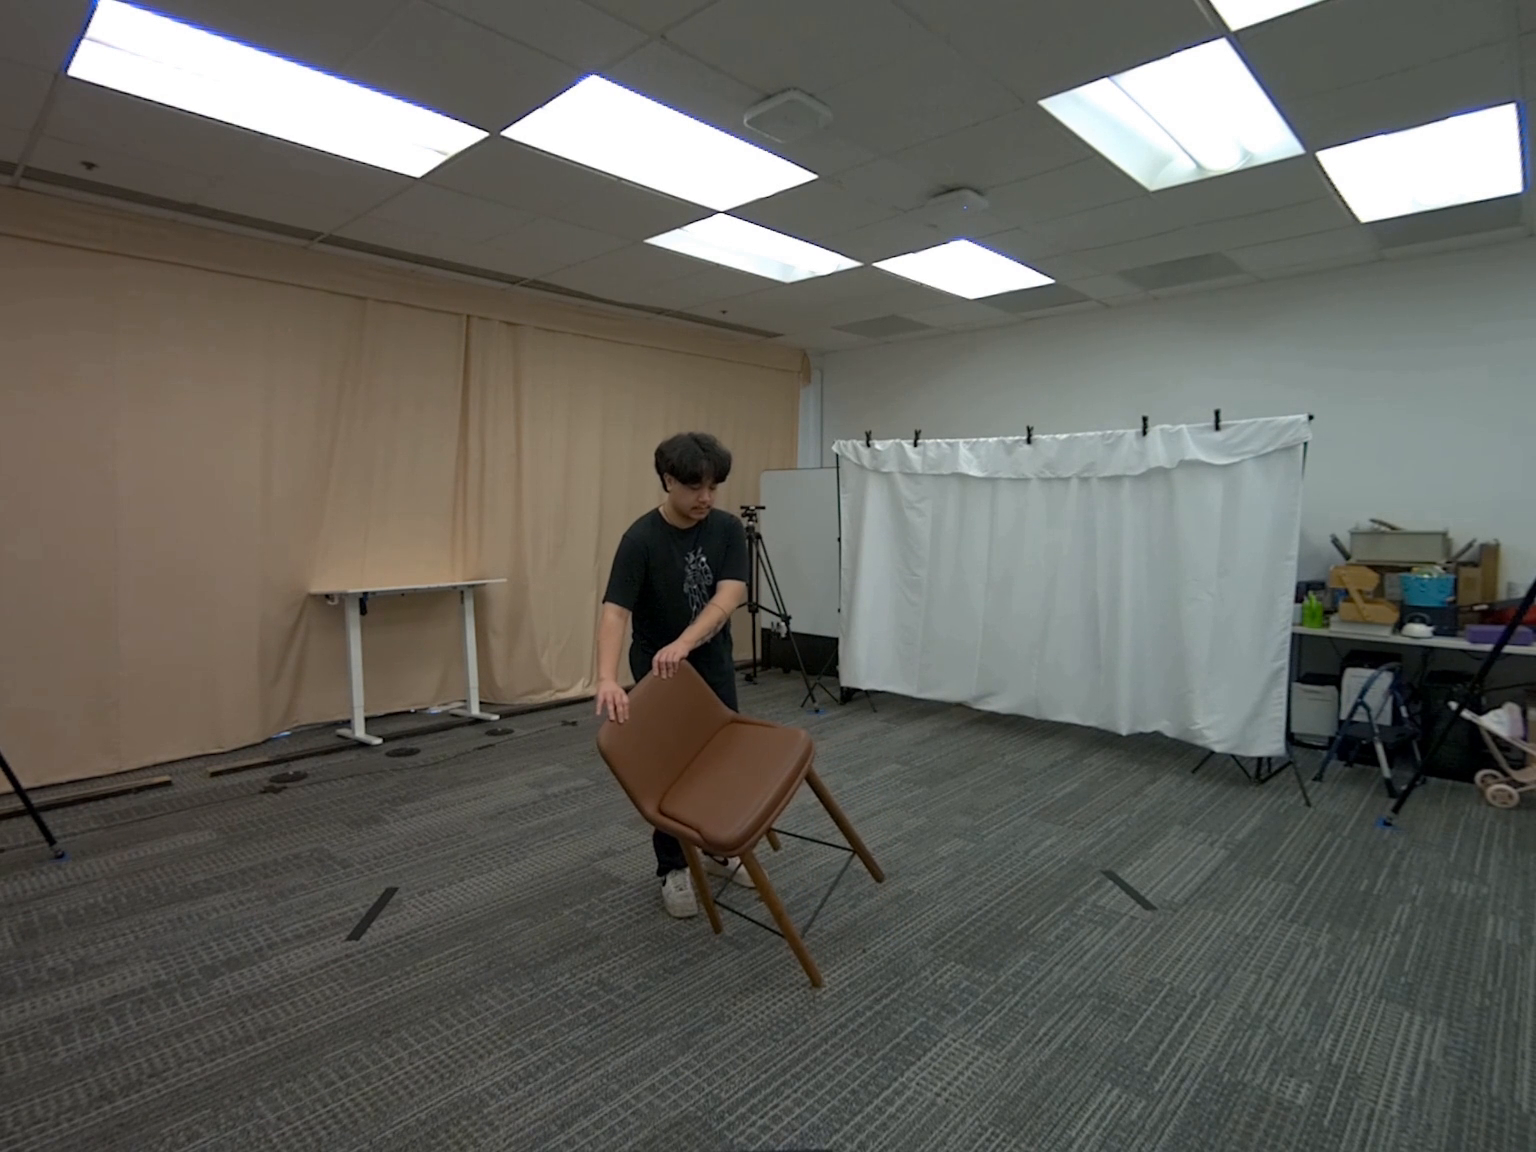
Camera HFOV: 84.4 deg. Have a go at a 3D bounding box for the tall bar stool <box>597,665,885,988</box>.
[{"bbox_3d":[-0.068,0.712,2.529,0.482,0.870,0.452,-1,33,45],"label":"tall bar stool"}]
